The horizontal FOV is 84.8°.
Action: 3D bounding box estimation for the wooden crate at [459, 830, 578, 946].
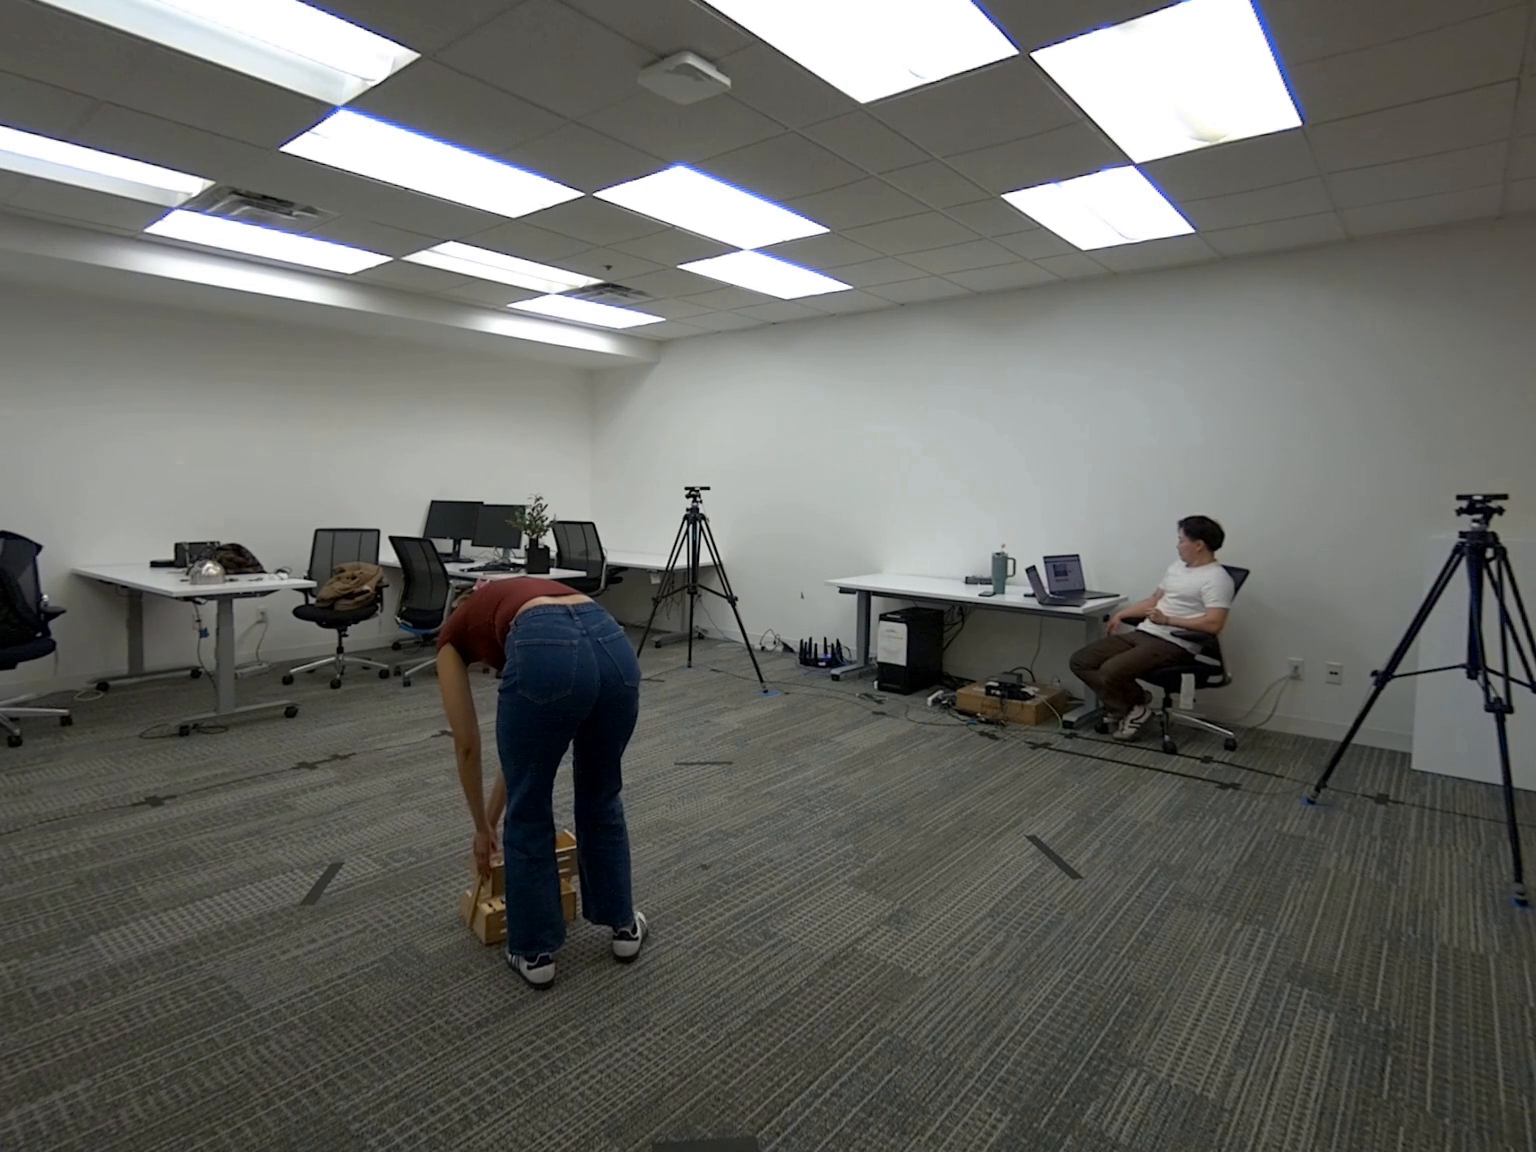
[{"bbox_3d":[-0.799,0.959,2.720,0.315,0.272,0.312,-1,5,-36],"label":"wooden crate"}]
